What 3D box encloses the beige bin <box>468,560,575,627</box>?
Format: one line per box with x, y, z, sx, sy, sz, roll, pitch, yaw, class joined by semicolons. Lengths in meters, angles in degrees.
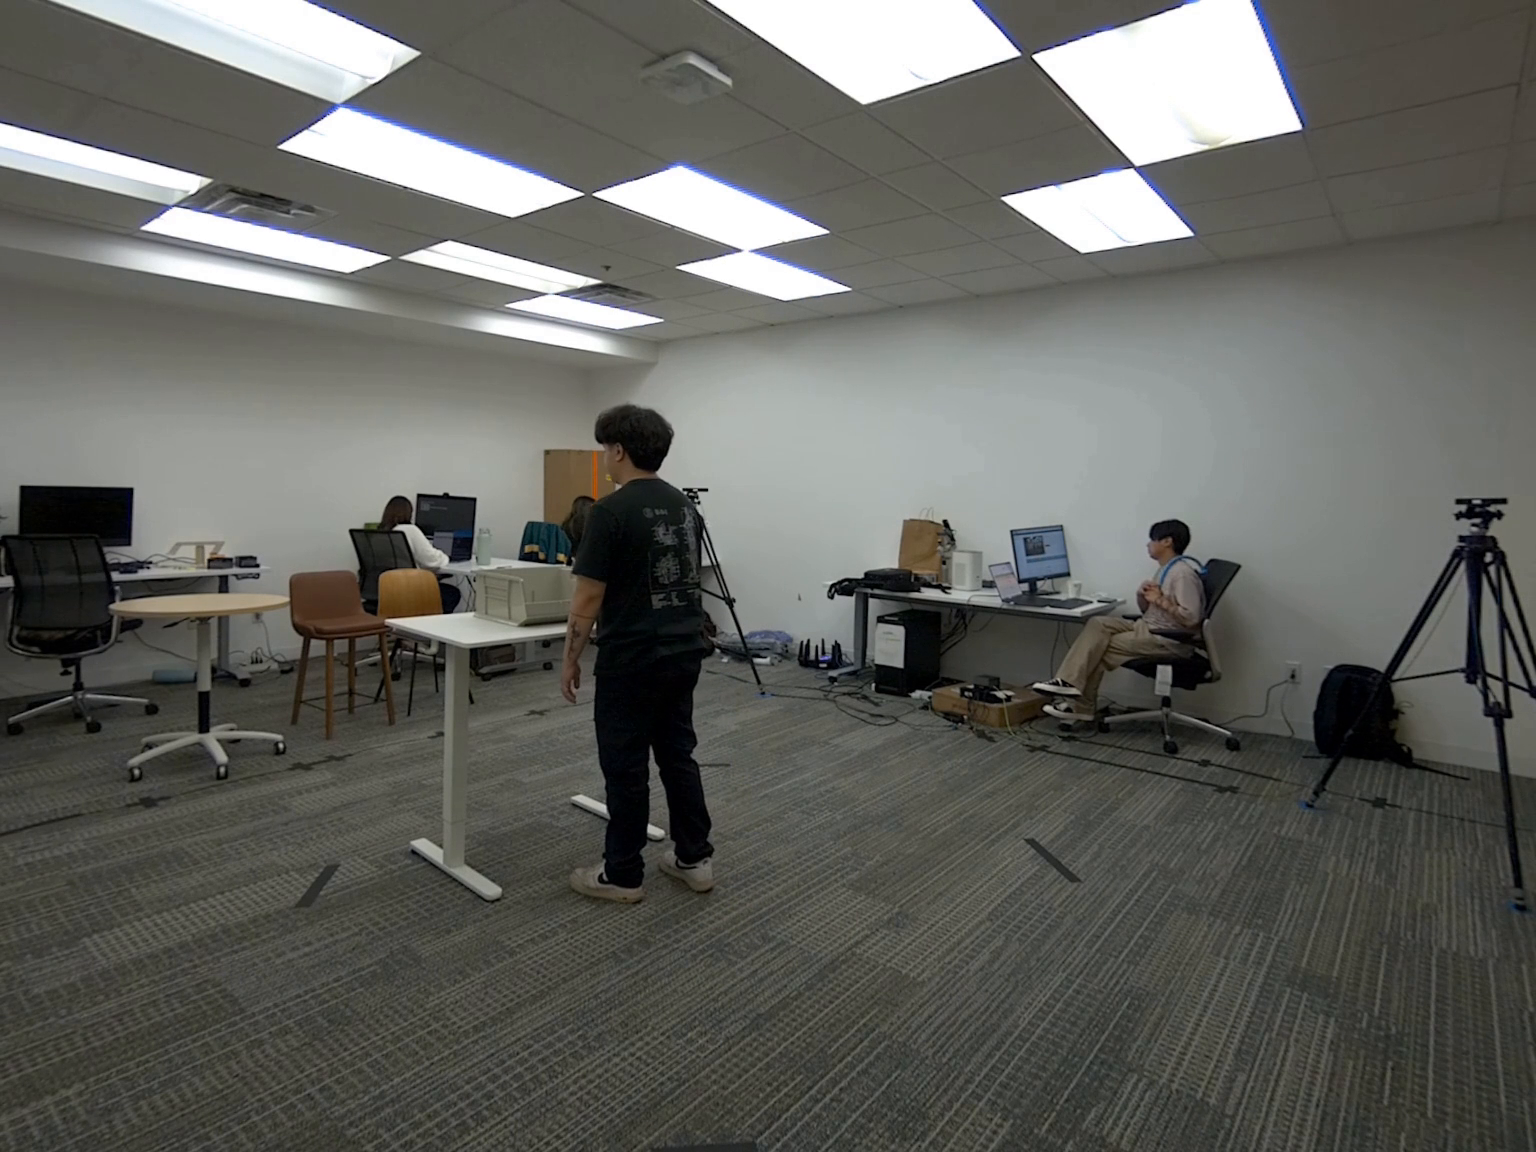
-0.877;0.073;3.288;0.390;0.188;0.409;5;7;43;beige bin
